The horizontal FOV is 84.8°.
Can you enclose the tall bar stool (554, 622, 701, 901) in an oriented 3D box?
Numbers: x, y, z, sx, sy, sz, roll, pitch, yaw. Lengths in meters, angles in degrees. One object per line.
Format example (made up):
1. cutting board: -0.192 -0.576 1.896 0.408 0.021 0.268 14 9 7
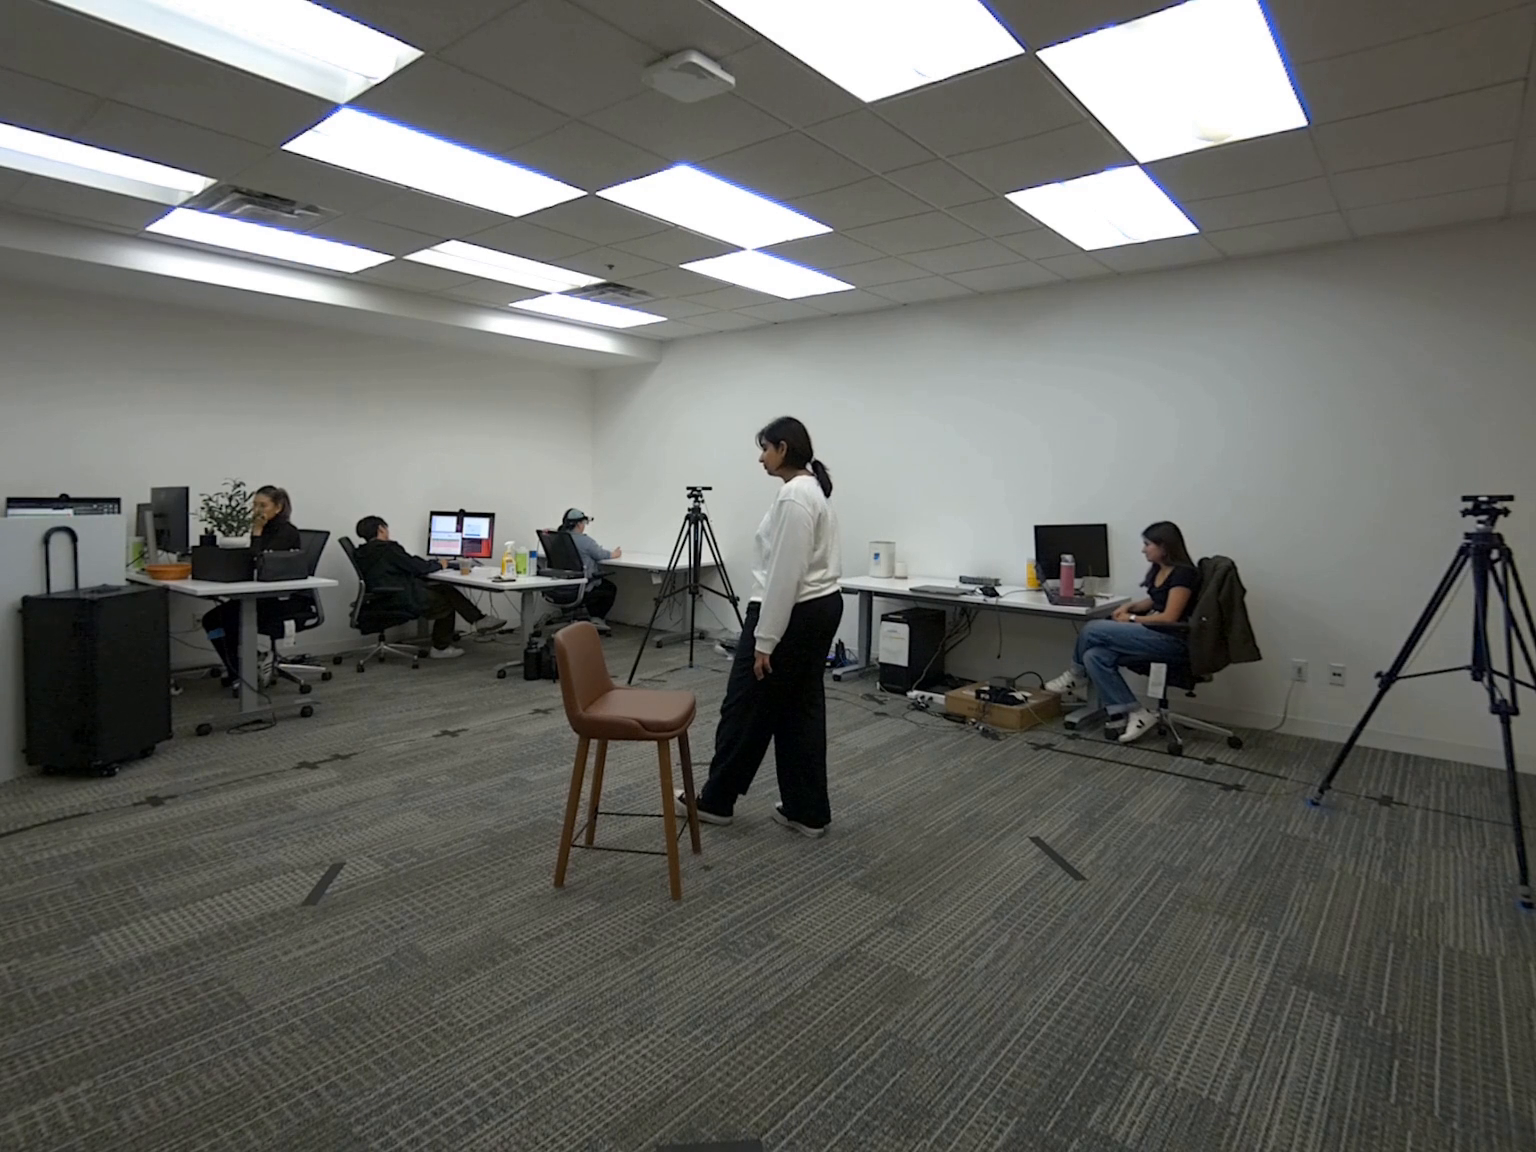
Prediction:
1. tall bar stool: -0.502 0.631 3.065 0.472 0.887 0.453 -1 3 8
